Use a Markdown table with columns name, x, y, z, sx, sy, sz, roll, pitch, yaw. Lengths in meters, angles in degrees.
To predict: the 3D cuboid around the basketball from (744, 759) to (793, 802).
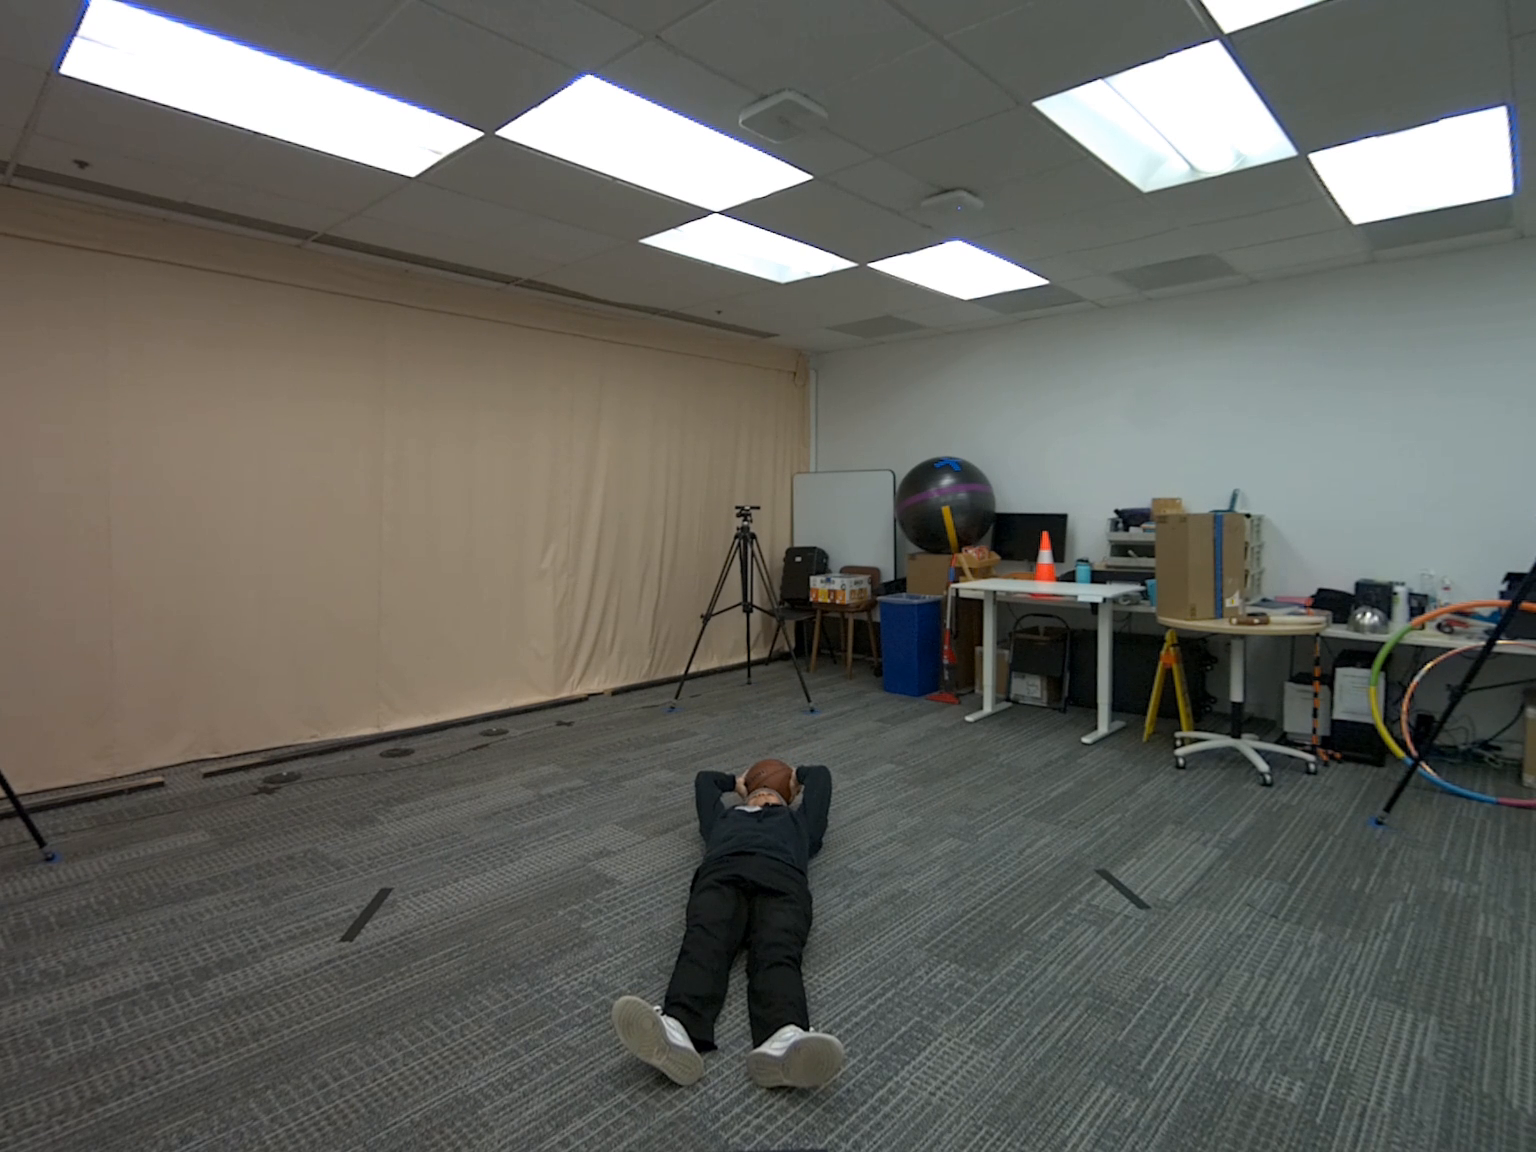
| name | x | y | z | sx | sy | sz | roll | pitch | yaw |
| --- | --- | --- | --- | --- | --- | --- | --- | --- | --- |
| basketball | 0.018 | 0.954 | 3.844 | 0.236 | 0.235 | 0.237 | 0 | 4 | -2 |
